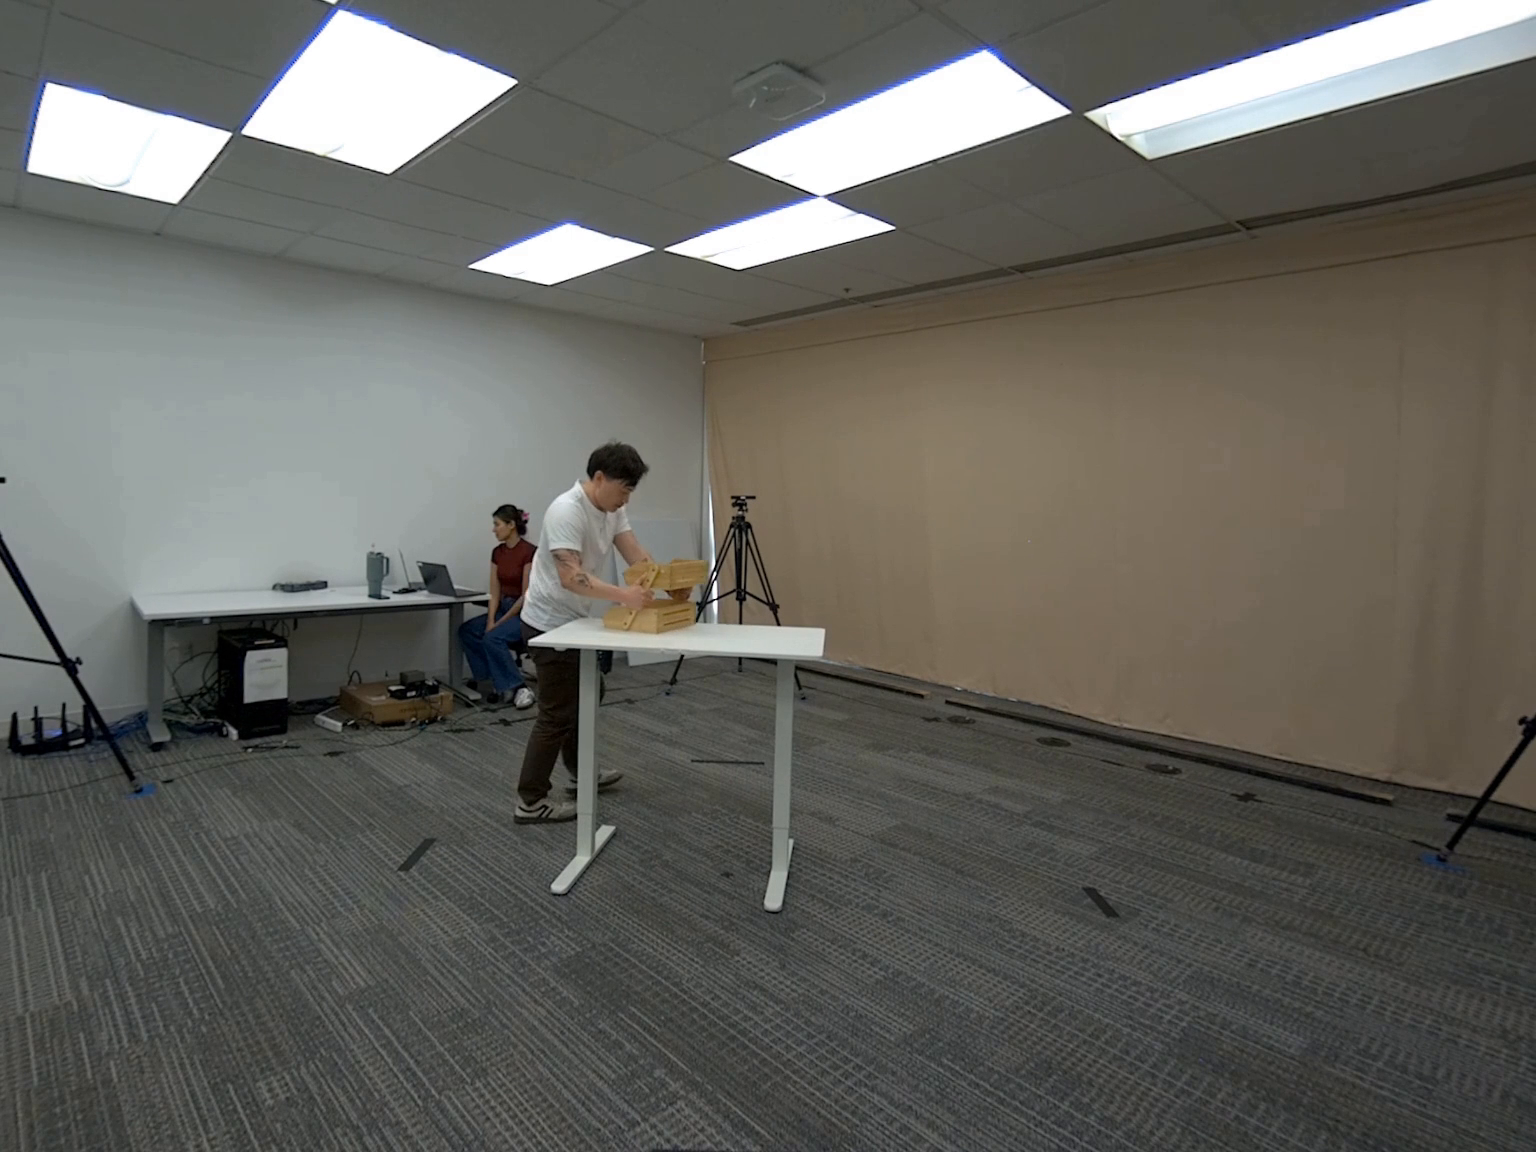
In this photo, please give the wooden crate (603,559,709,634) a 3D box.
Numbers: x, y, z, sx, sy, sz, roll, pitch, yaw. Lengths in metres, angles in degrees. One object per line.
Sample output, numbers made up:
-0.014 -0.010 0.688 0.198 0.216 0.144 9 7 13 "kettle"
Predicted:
-0.452 0.068 3.265 0.308 0.272 0.319 4 4 23 "wooden crate"
